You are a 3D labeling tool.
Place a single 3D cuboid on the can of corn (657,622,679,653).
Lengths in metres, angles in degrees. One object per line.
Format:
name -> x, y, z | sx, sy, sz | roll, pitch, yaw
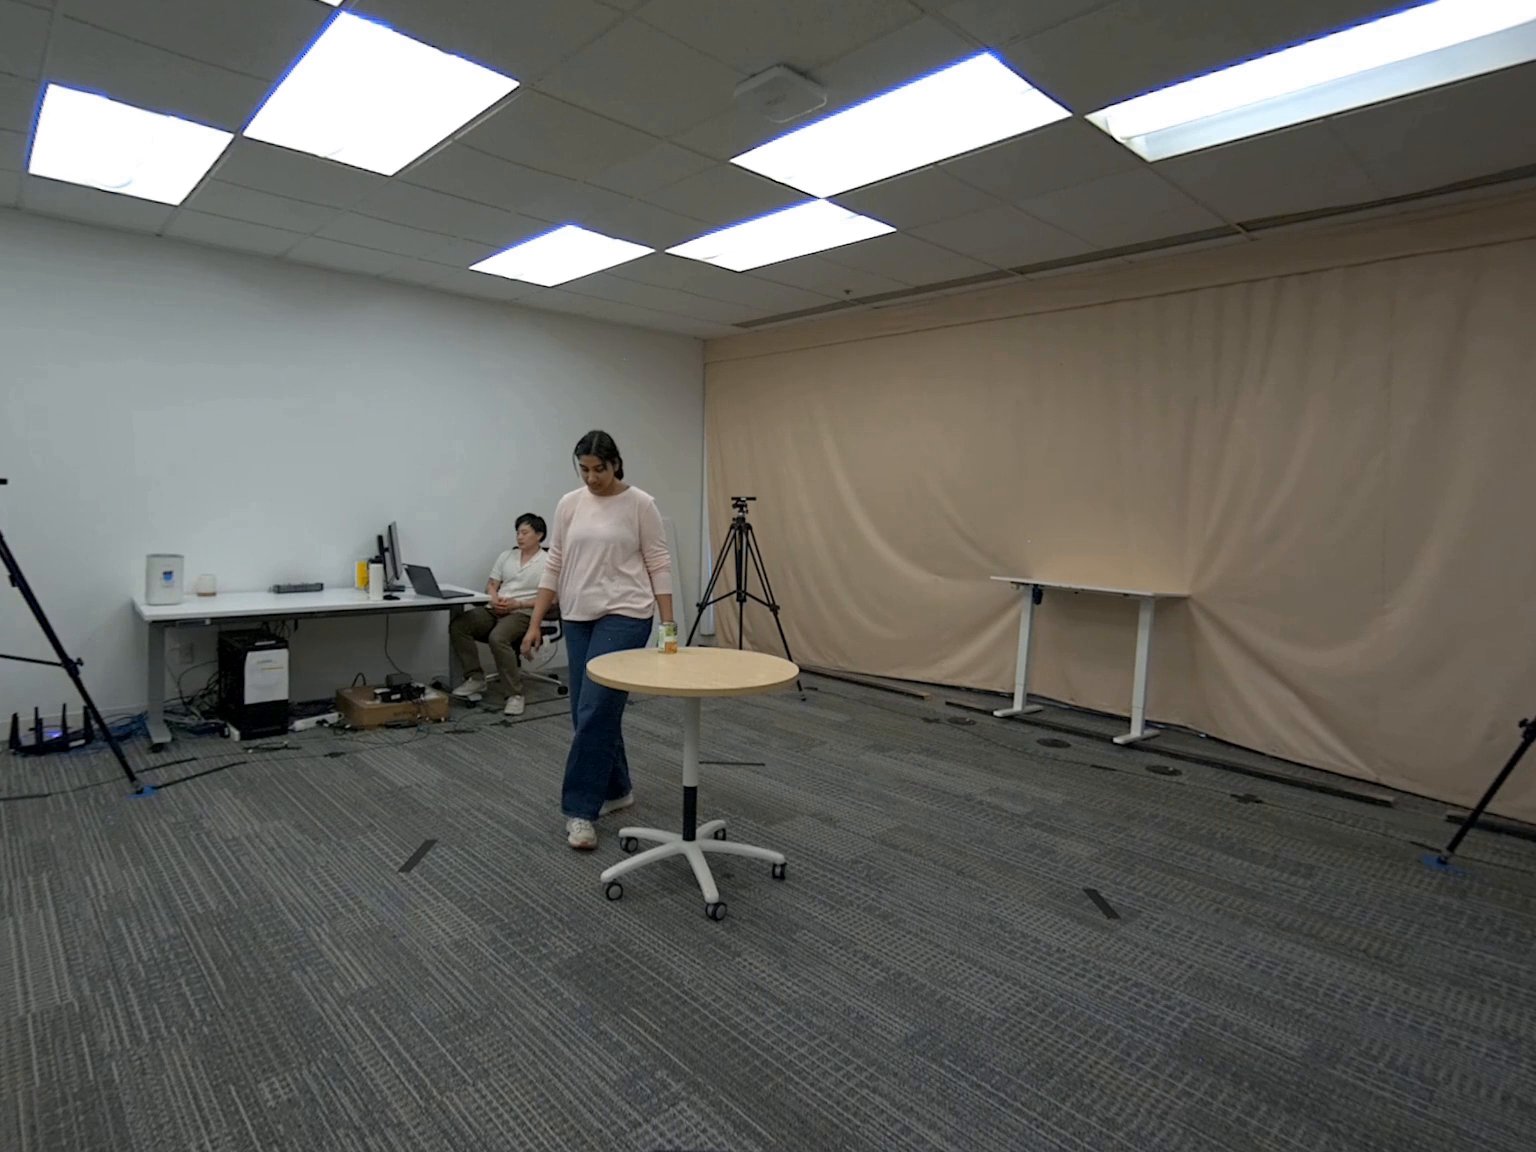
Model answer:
can of corn -> -0.404, 0.245, 3.294 | 0.074, 0.111, 0.074 | 0, 2, -1
